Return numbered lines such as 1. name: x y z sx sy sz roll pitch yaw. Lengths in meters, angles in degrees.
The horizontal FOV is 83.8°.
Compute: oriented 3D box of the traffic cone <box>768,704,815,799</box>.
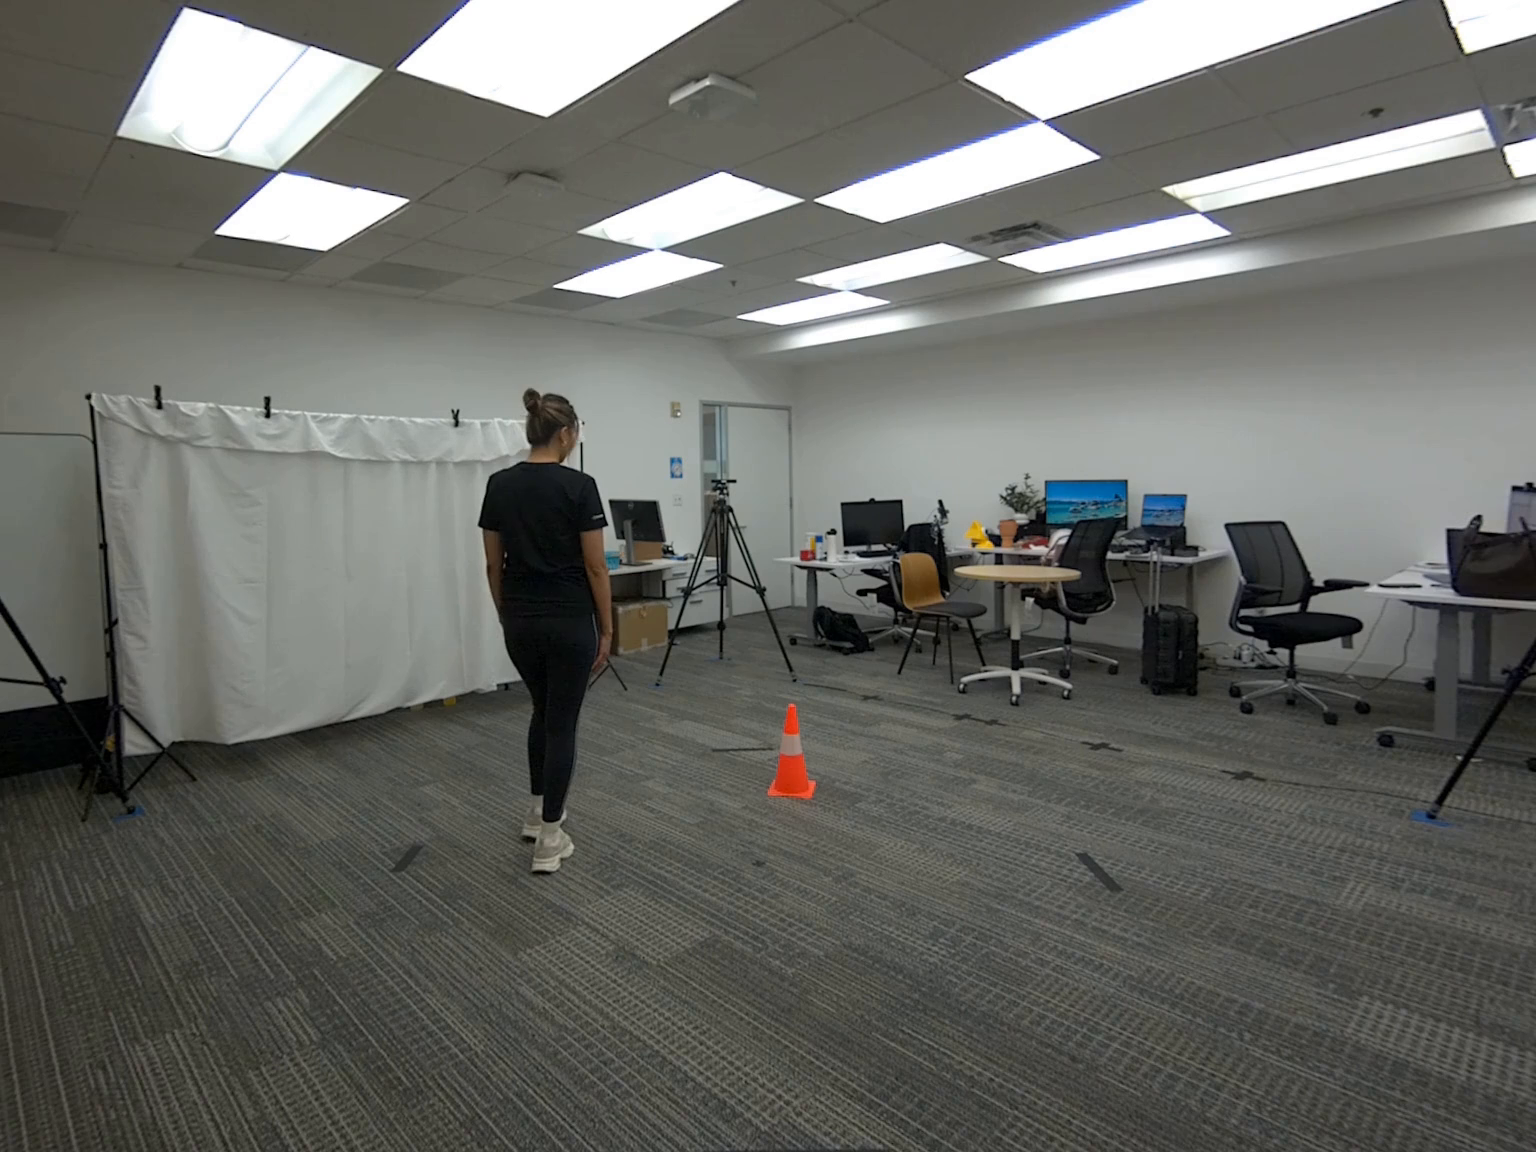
1. traffic cone: 0.108 0.777 3.852 0.206 0.382 0.202 0 3 14
